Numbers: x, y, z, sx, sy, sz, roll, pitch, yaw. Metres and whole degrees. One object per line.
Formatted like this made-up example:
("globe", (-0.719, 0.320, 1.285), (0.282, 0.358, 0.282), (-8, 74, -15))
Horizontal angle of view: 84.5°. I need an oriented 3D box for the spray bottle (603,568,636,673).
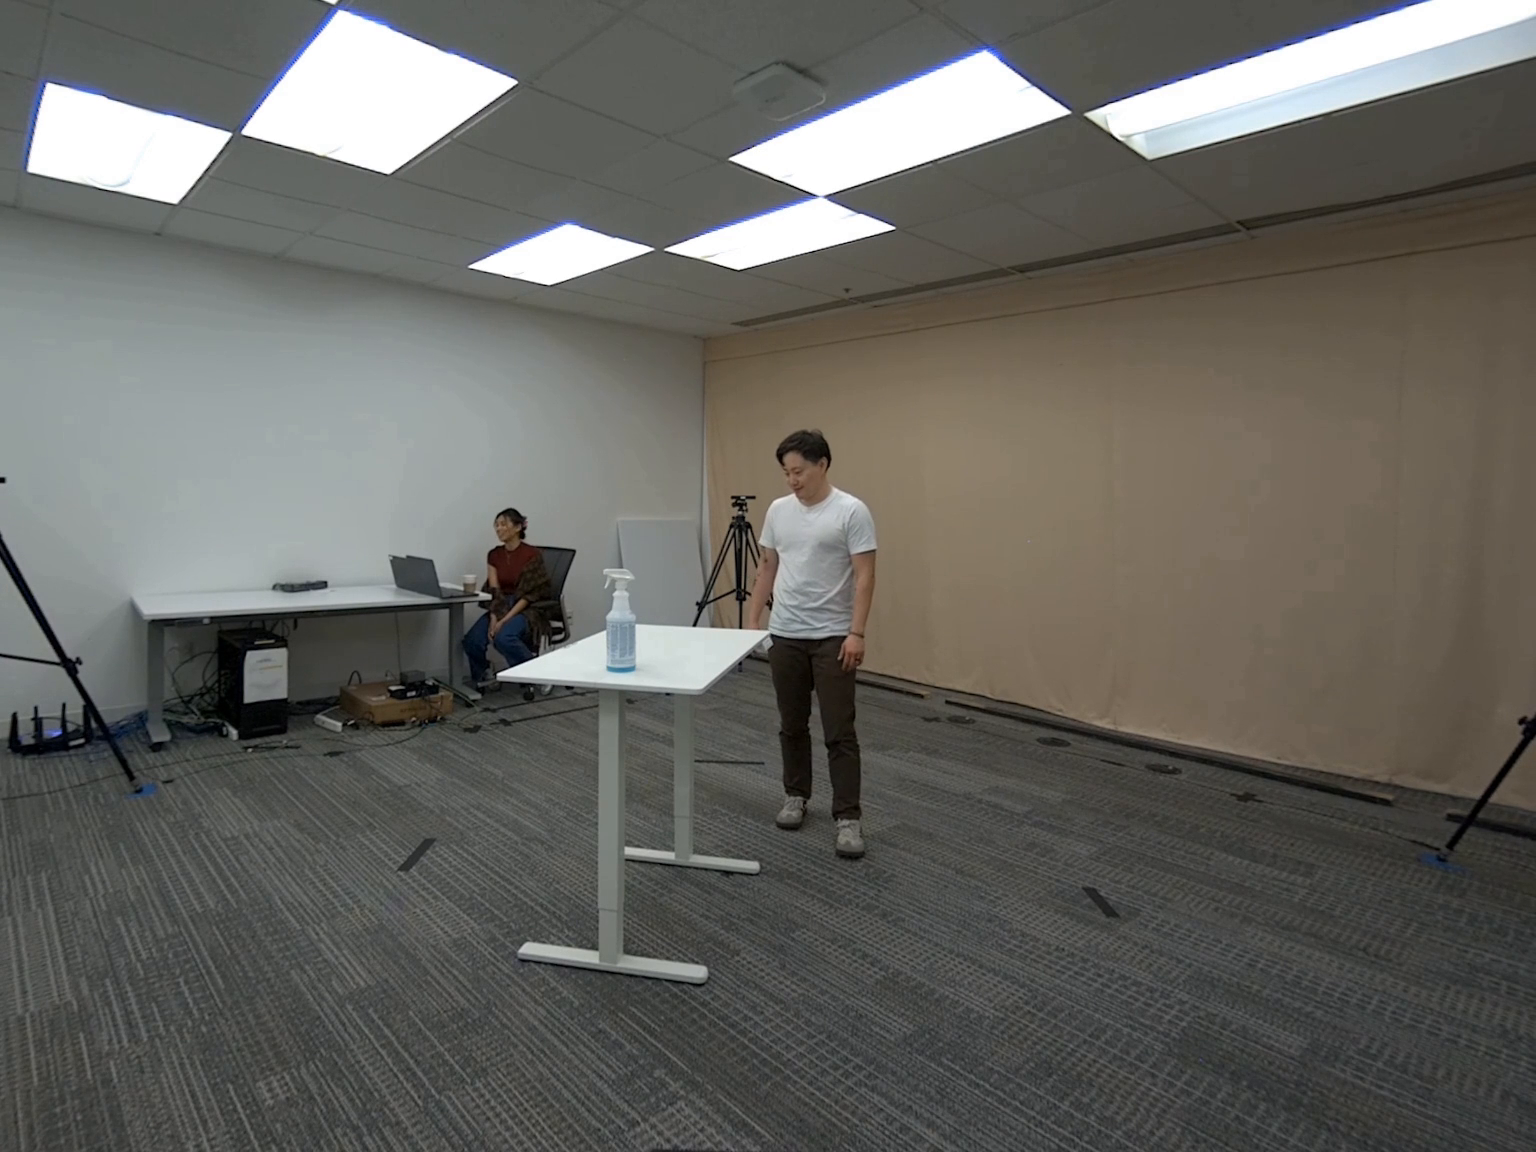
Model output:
("spray bottle", (-0.437, 0.130, 2.449), (0.090, 0.296, 0.087), (0, 3, 1))
